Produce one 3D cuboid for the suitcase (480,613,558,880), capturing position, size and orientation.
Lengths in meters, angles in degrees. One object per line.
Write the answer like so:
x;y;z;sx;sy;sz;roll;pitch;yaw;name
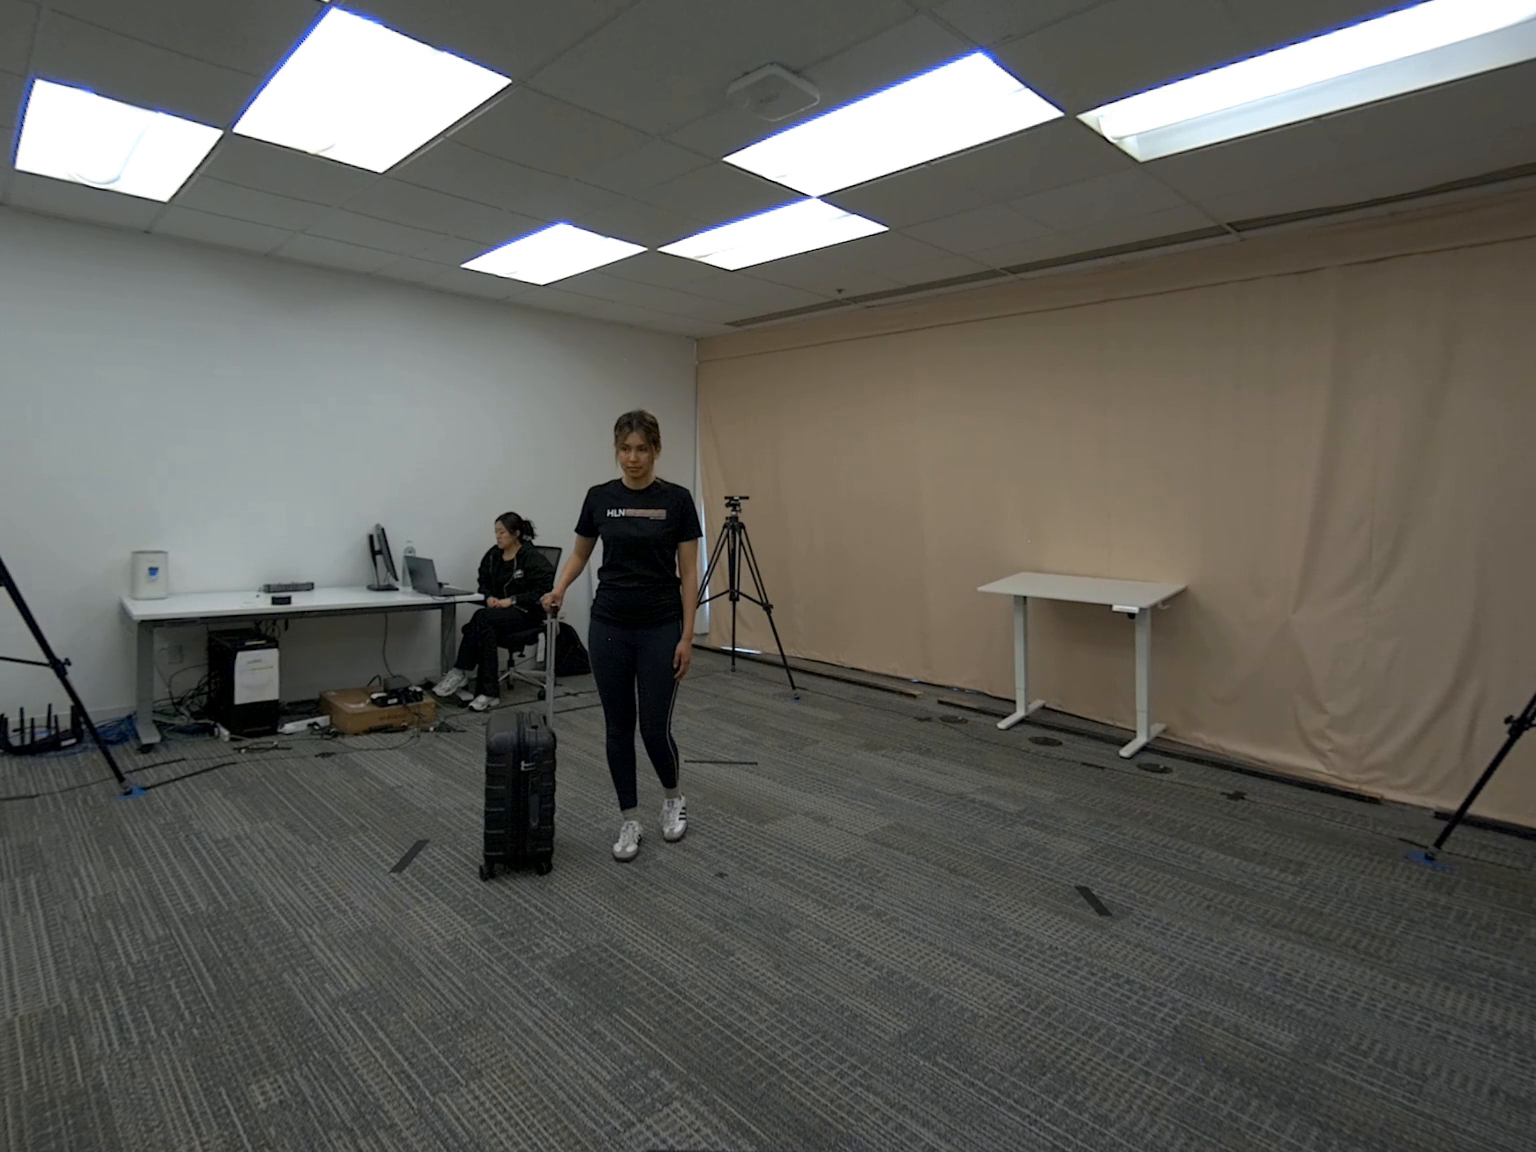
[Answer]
-0.941;0.603;3.151;0.254;0.975;0.389;0;5;-15;suitcase
